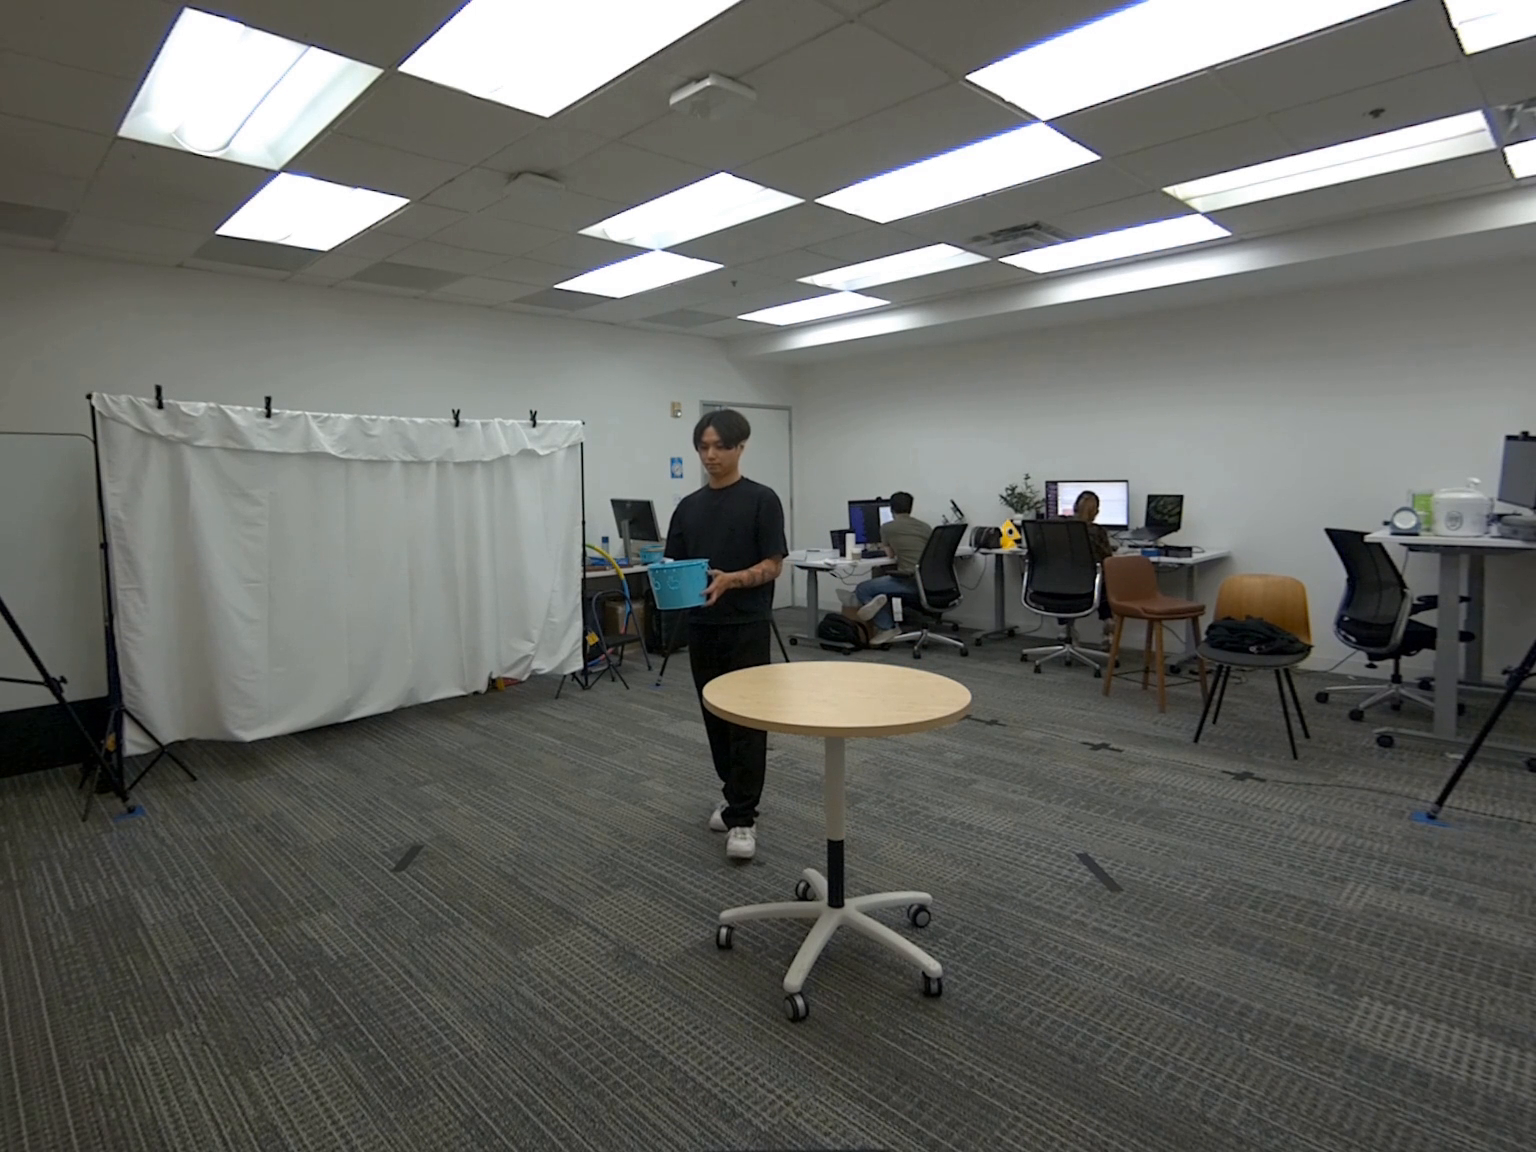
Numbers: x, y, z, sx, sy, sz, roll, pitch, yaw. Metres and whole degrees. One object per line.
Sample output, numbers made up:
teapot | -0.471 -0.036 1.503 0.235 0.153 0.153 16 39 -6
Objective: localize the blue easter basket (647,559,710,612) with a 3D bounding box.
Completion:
blue easter basket | -0.325 0.029 3.091 0.243 0.155 0.245 -7 5 -1
